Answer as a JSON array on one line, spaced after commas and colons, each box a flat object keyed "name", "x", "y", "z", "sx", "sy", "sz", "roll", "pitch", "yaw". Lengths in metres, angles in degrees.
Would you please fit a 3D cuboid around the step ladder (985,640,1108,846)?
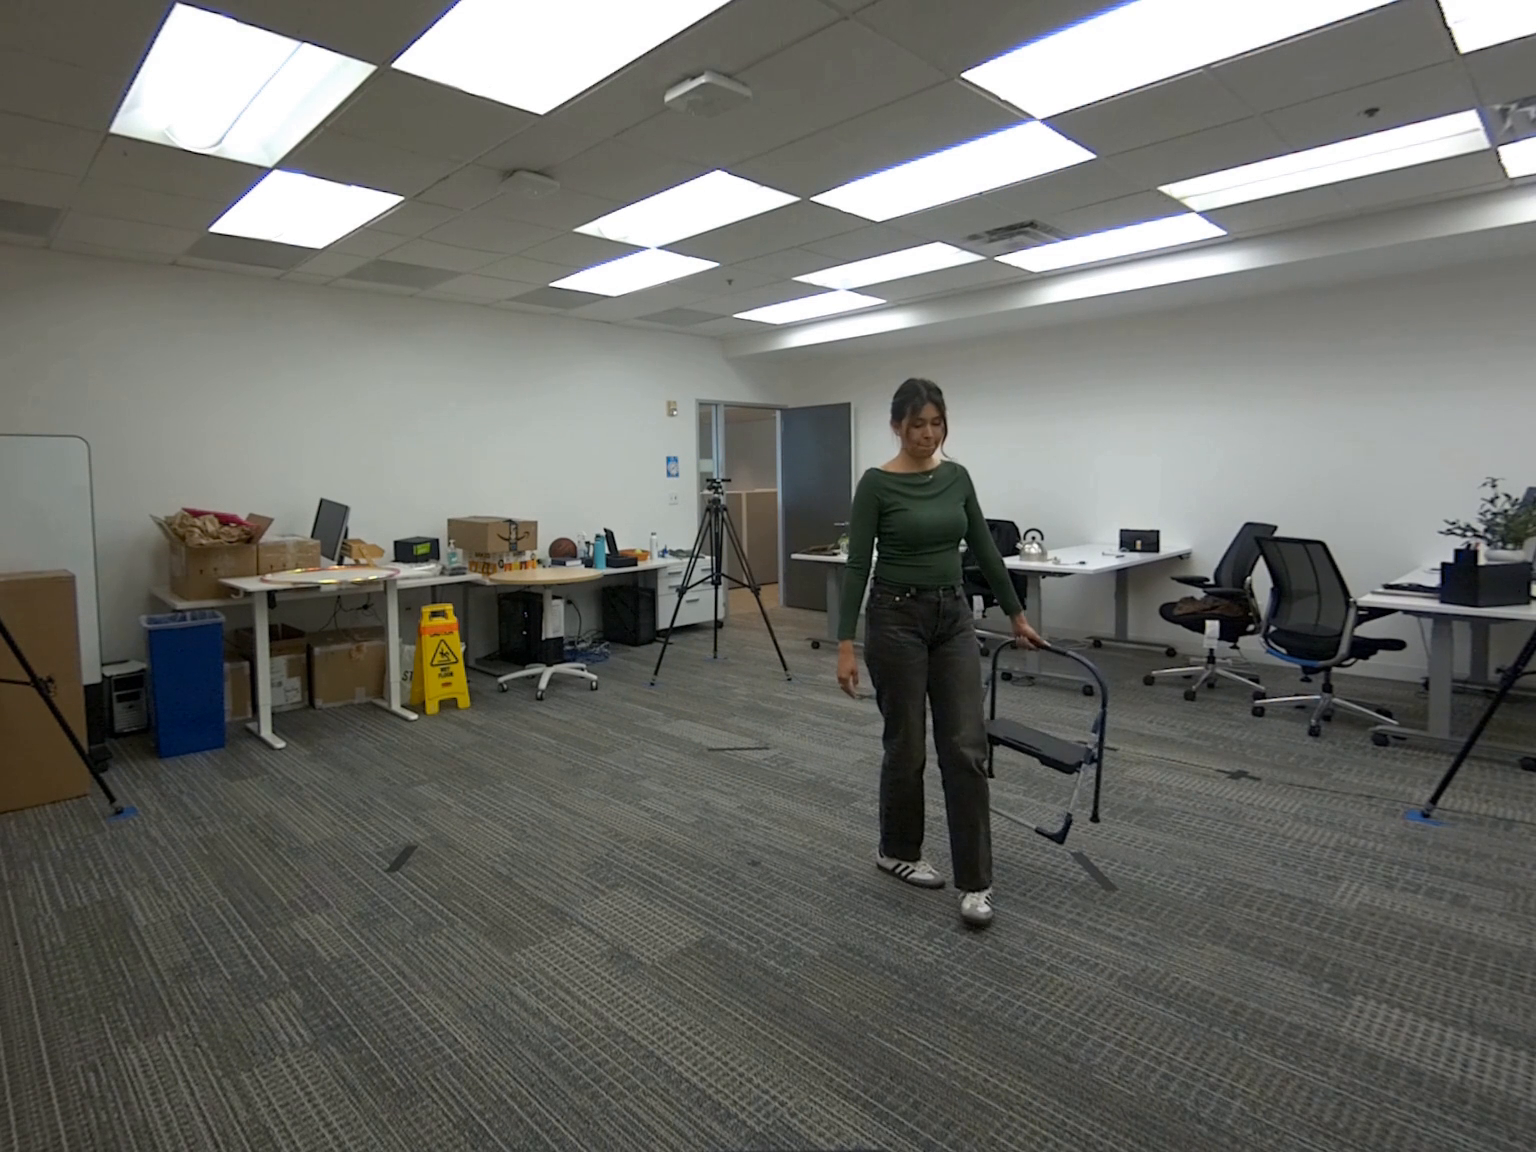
[{"name": "step ladder", "x": 0.950, "y": 0.529, "z": 2.981, "sx": 0.446, "sy": 0.602, "sz": 0.339, "roll": 16, "pitch": 11, "yaw": 38}]
